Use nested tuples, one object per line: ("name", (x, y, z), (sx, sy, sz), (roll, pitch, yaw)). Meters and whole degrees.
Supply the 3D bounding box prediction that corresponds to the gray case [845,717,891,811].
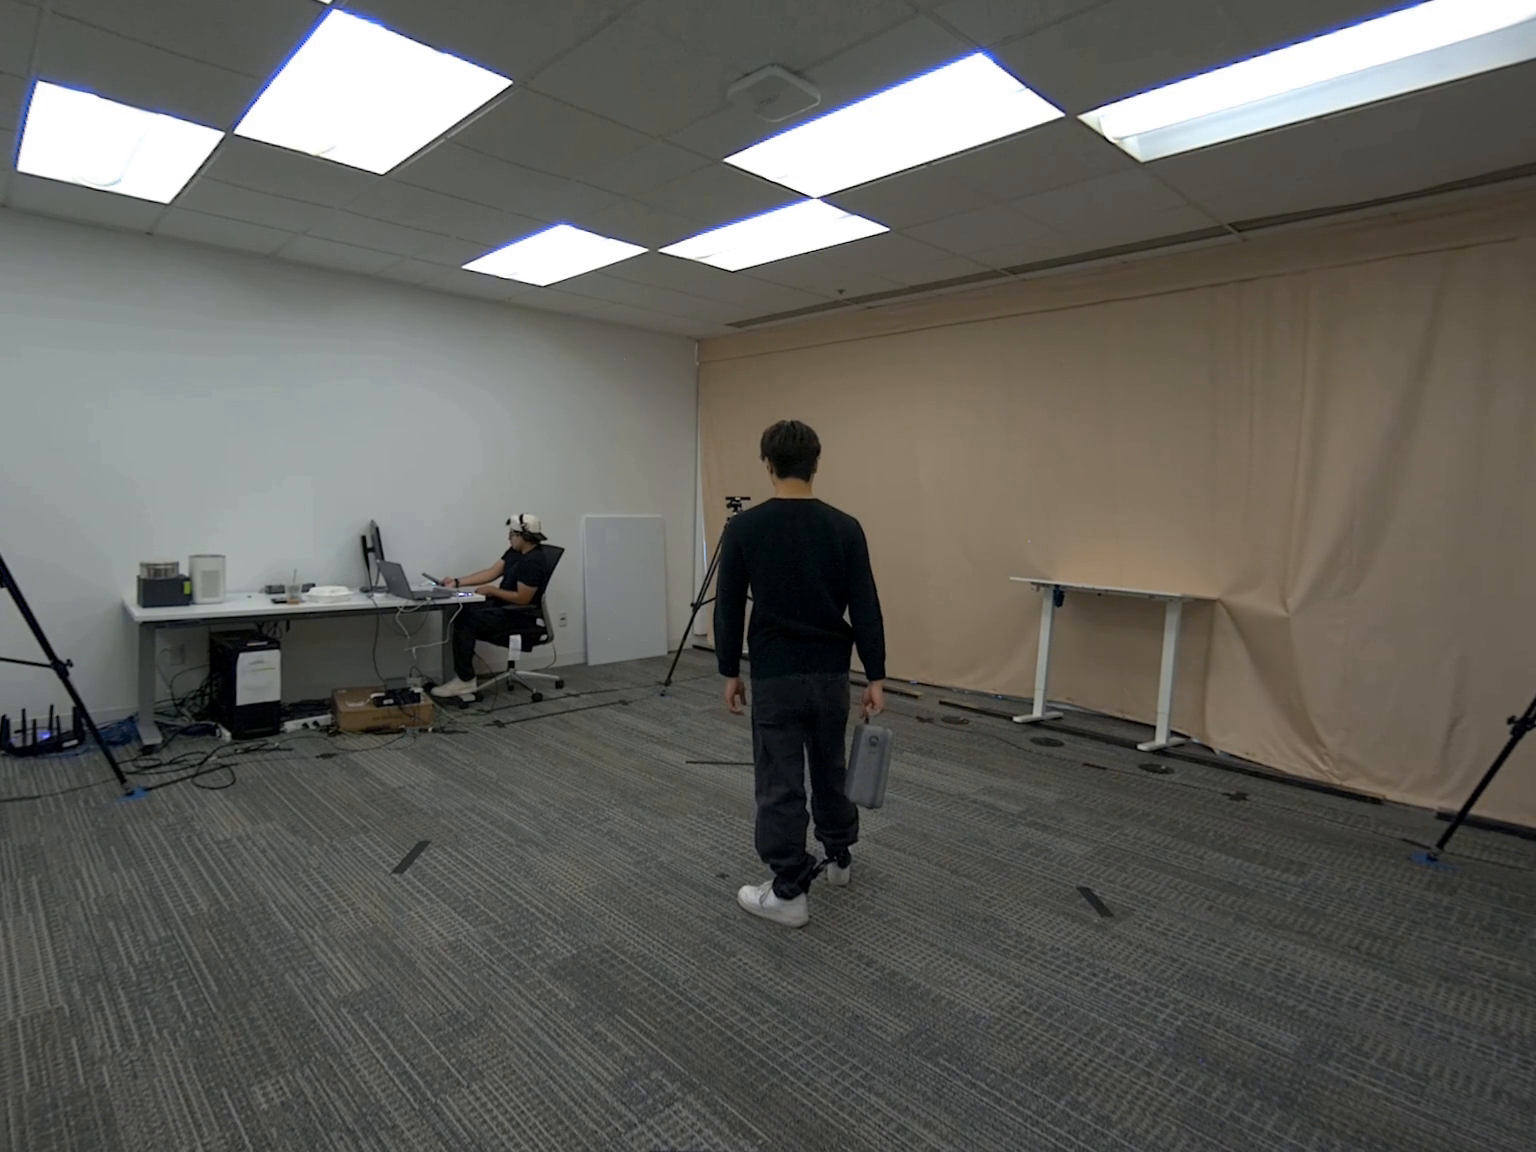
("gray case", (0.319, 0.602, 2.732), (0.105, 0.262, 0.254), (9, -10, 2))
